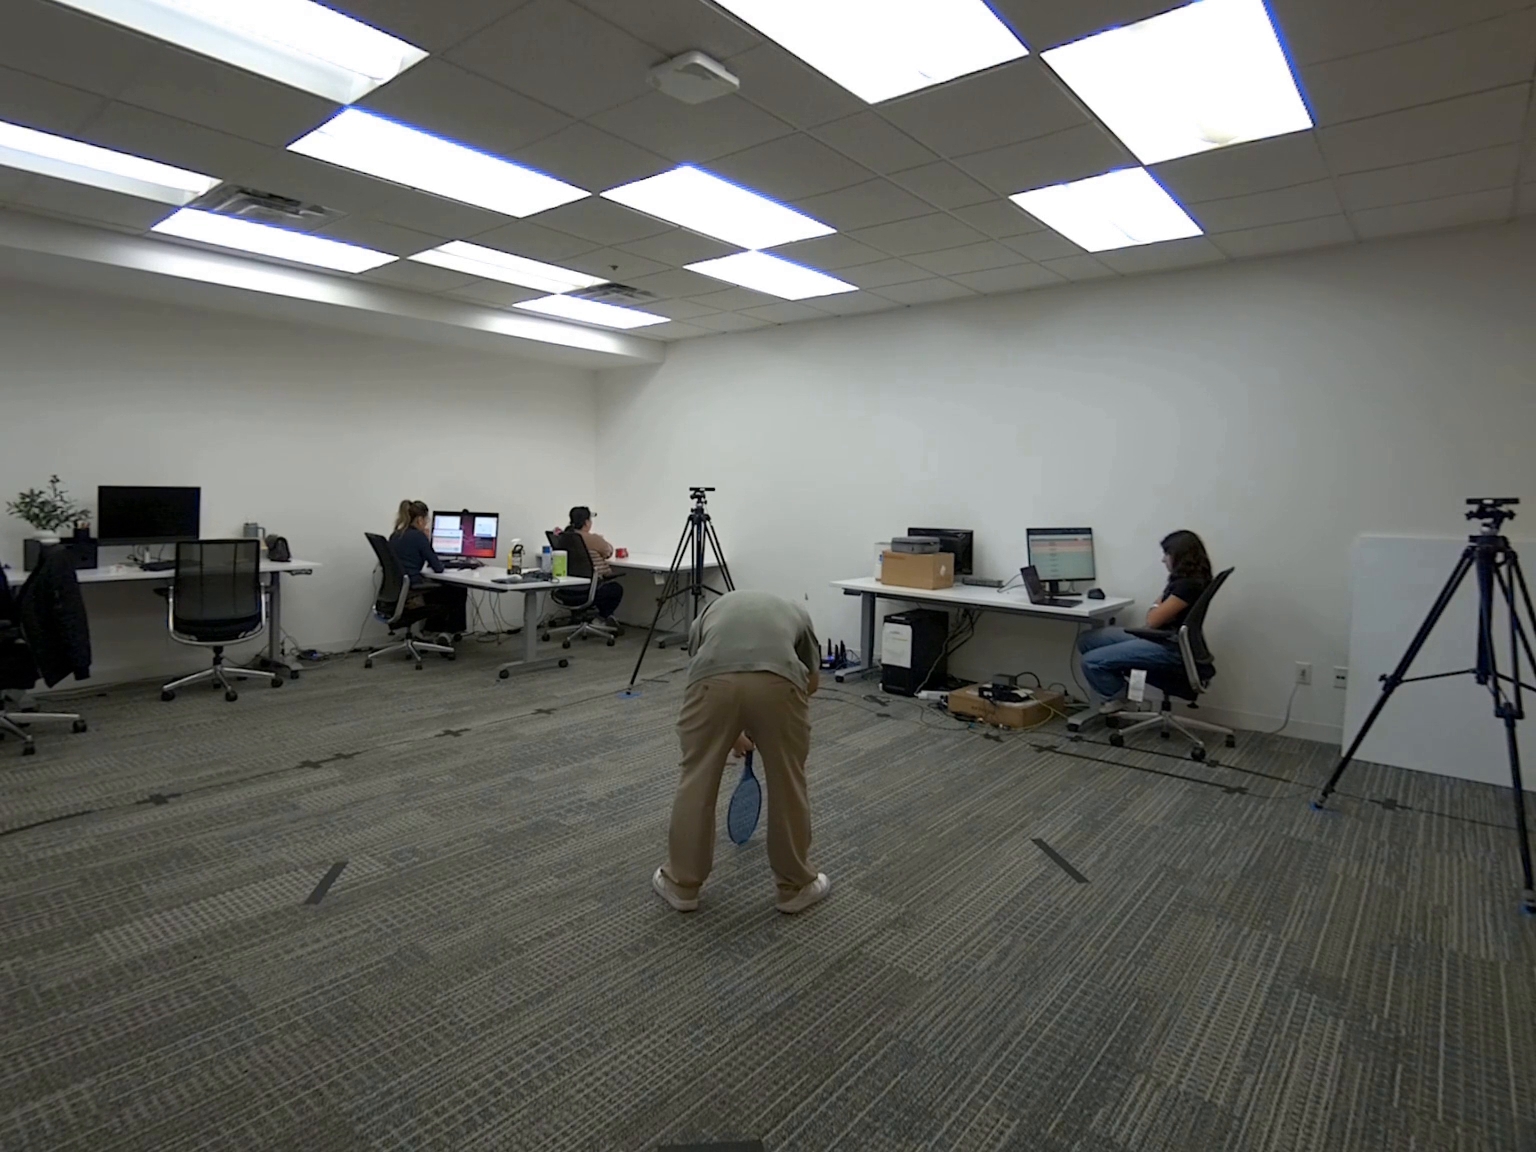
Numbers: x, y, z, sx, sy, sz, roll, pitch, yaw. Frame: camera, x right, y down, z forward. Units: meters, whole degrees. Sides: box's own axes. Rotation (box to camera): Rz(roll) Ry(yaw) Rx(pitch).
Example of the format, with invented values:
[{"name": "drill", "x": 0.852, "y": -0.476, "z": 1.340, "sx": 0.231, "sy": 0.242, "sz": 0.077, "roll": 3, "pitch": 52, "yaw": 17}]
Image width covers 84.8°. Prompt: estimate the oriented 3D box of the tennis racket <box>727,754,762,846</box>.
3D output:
[{"name": "tennis racket", "x": -0.091, "y": 0.831, "z": 3.329, "sx": 0.033, "sy": 0.433, "sz": 0.206, "roll": 7, "pitch": 0, "yaw": 36}]
